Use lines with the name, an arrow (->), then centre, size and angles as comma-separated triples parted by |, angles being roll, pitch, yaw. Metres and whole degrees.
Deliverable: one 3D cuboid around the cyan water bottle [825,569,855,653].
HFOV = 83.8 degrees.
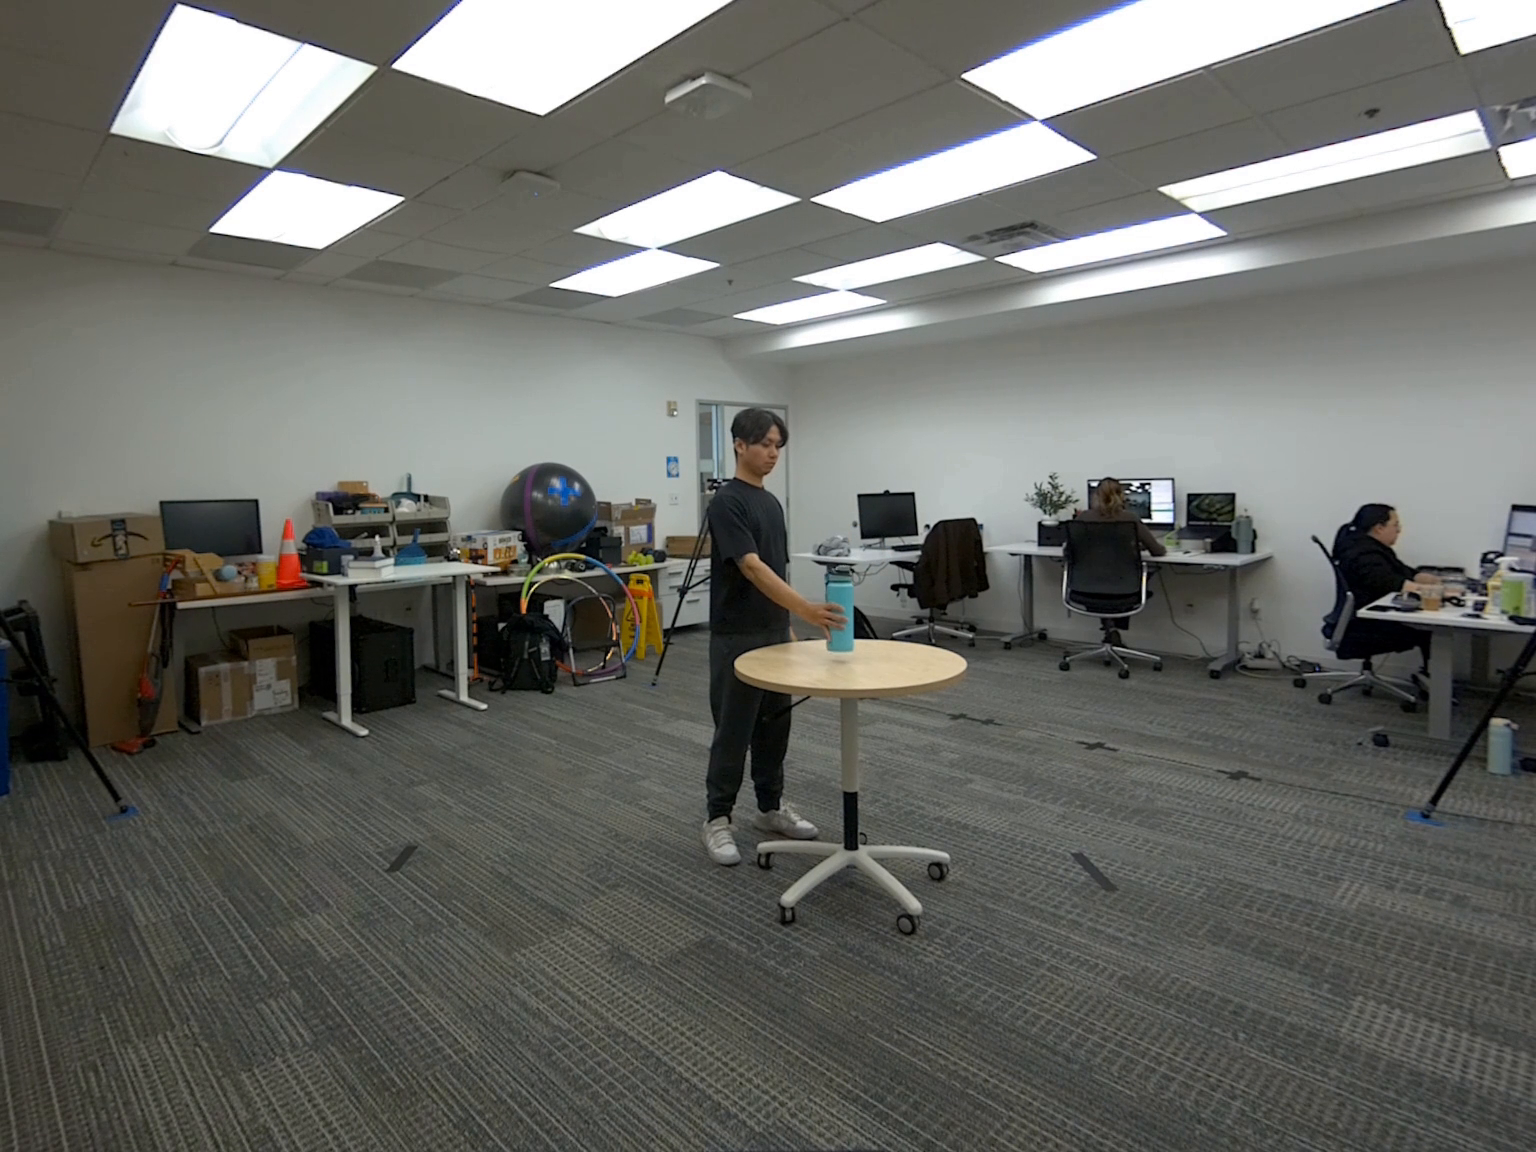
cyan water bottle -> 0.235, 0.109, 2.852 | 0.092, 0.283, 0.092 | -2, -1, -2
